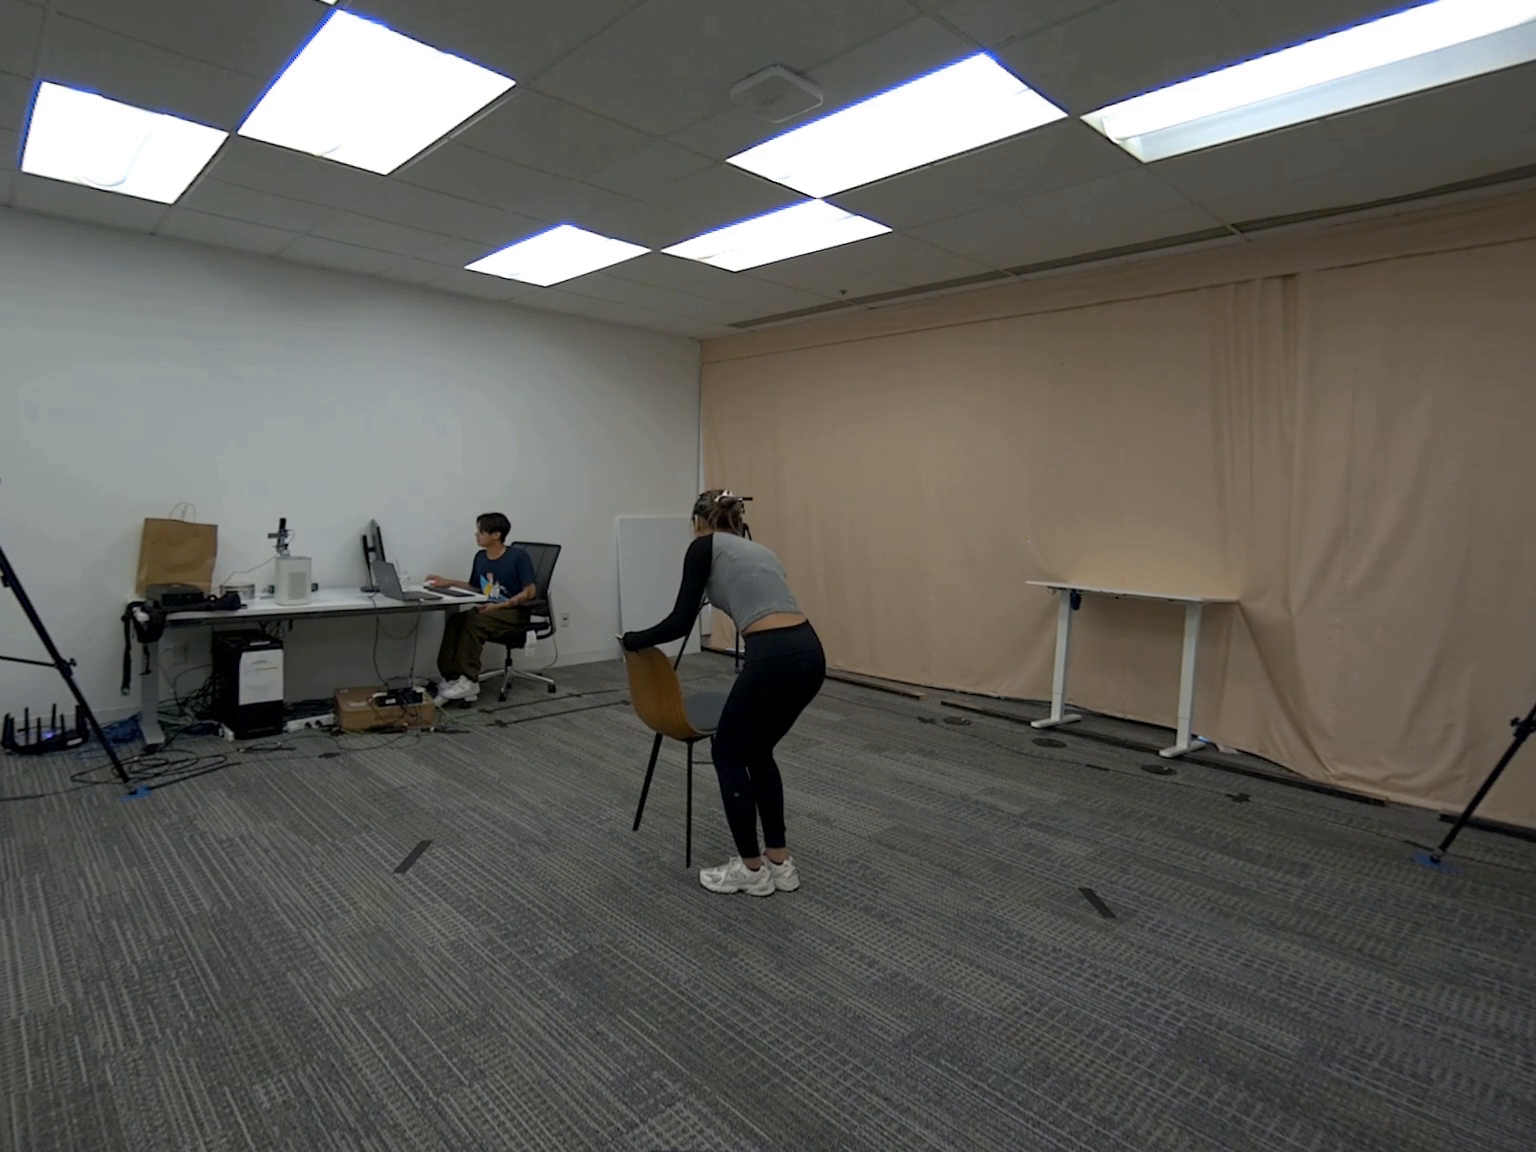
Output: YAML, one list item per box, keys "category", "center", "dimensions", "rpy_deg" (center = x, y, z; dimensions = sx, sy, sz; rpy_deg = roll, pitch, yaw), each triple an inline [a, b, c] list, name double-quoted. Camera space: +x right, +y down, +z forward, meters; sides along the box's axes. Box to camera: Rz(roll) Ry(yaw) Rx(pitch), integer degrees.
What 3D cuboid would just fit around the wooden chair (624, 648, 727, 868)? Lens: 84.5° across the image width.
- category: "wooden chair"
  center: [-0.278, 0.600, 3.341]
  dimensions: [0.515, 0.871, 0.489]
  rpy_deg: [-14, 10, -33]
